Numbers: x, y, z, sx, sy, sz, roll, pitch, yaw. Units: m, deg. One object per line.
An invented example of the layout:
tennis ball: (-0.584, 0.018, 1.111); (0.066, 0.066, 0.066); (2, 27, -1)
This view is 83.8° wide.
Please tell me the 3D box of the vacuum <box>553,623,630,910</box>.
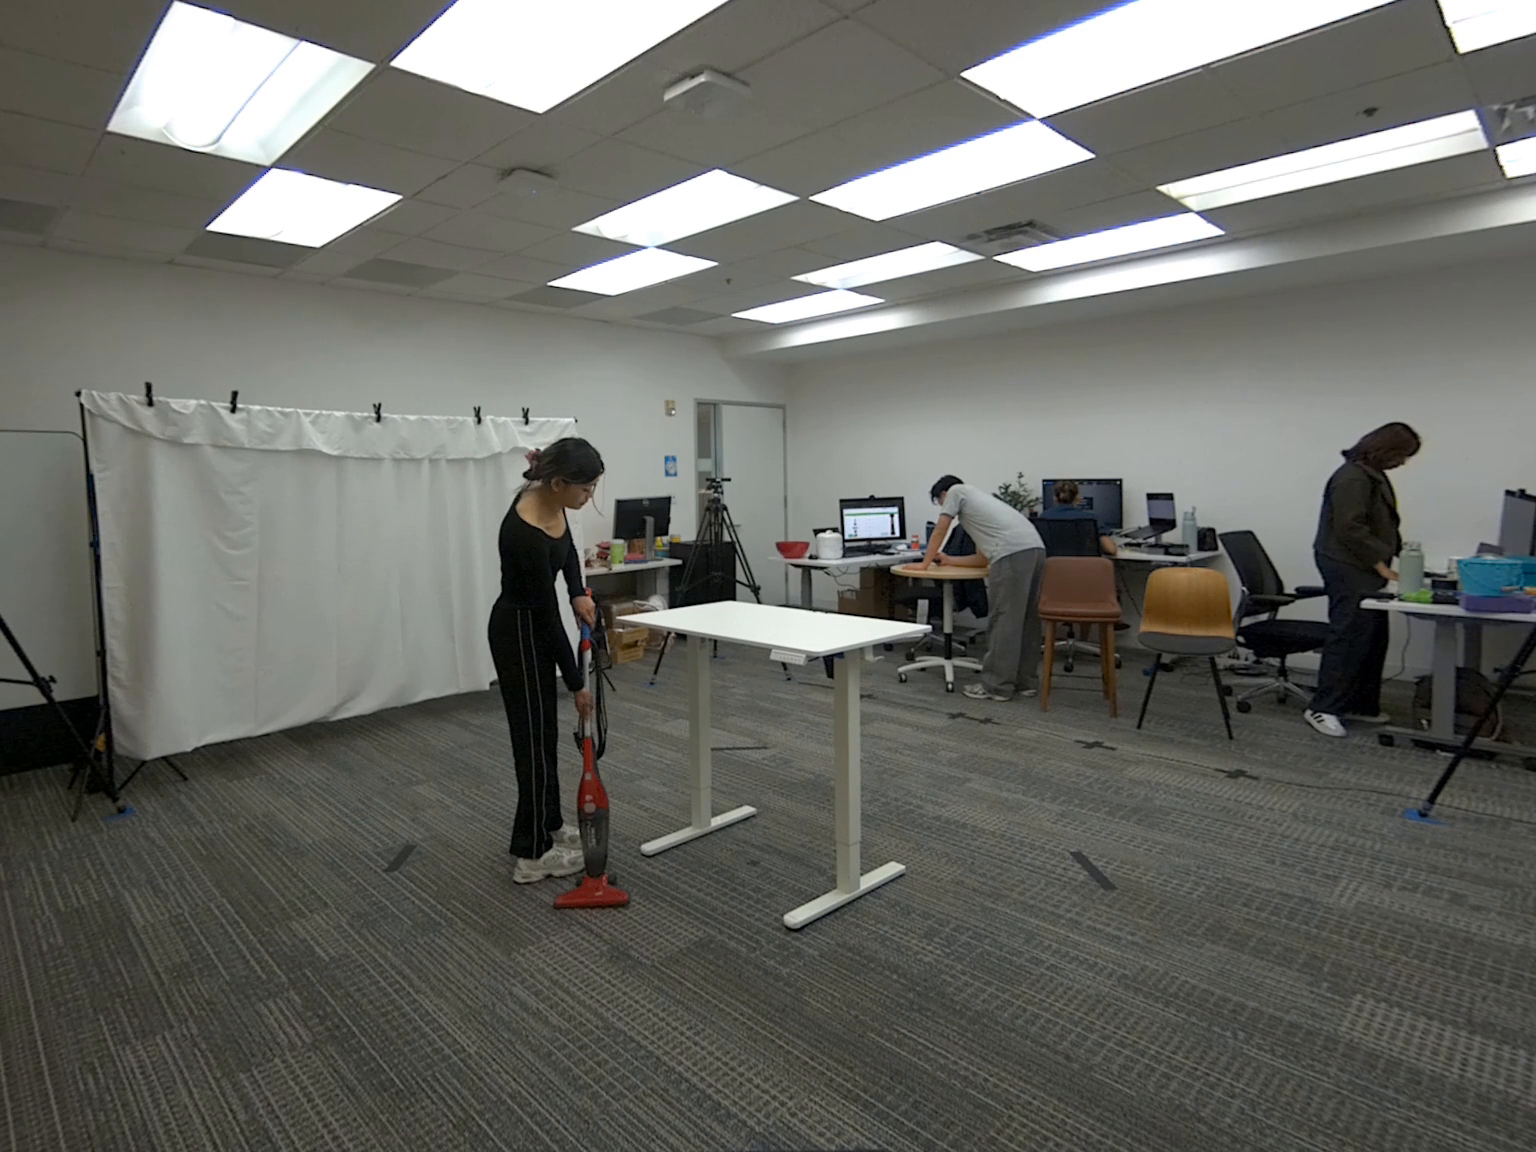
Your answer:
vacuum: (-0.614, 0.562, 2.999); (0.254, 1.064, 0.141); (-4, -15, 7)
